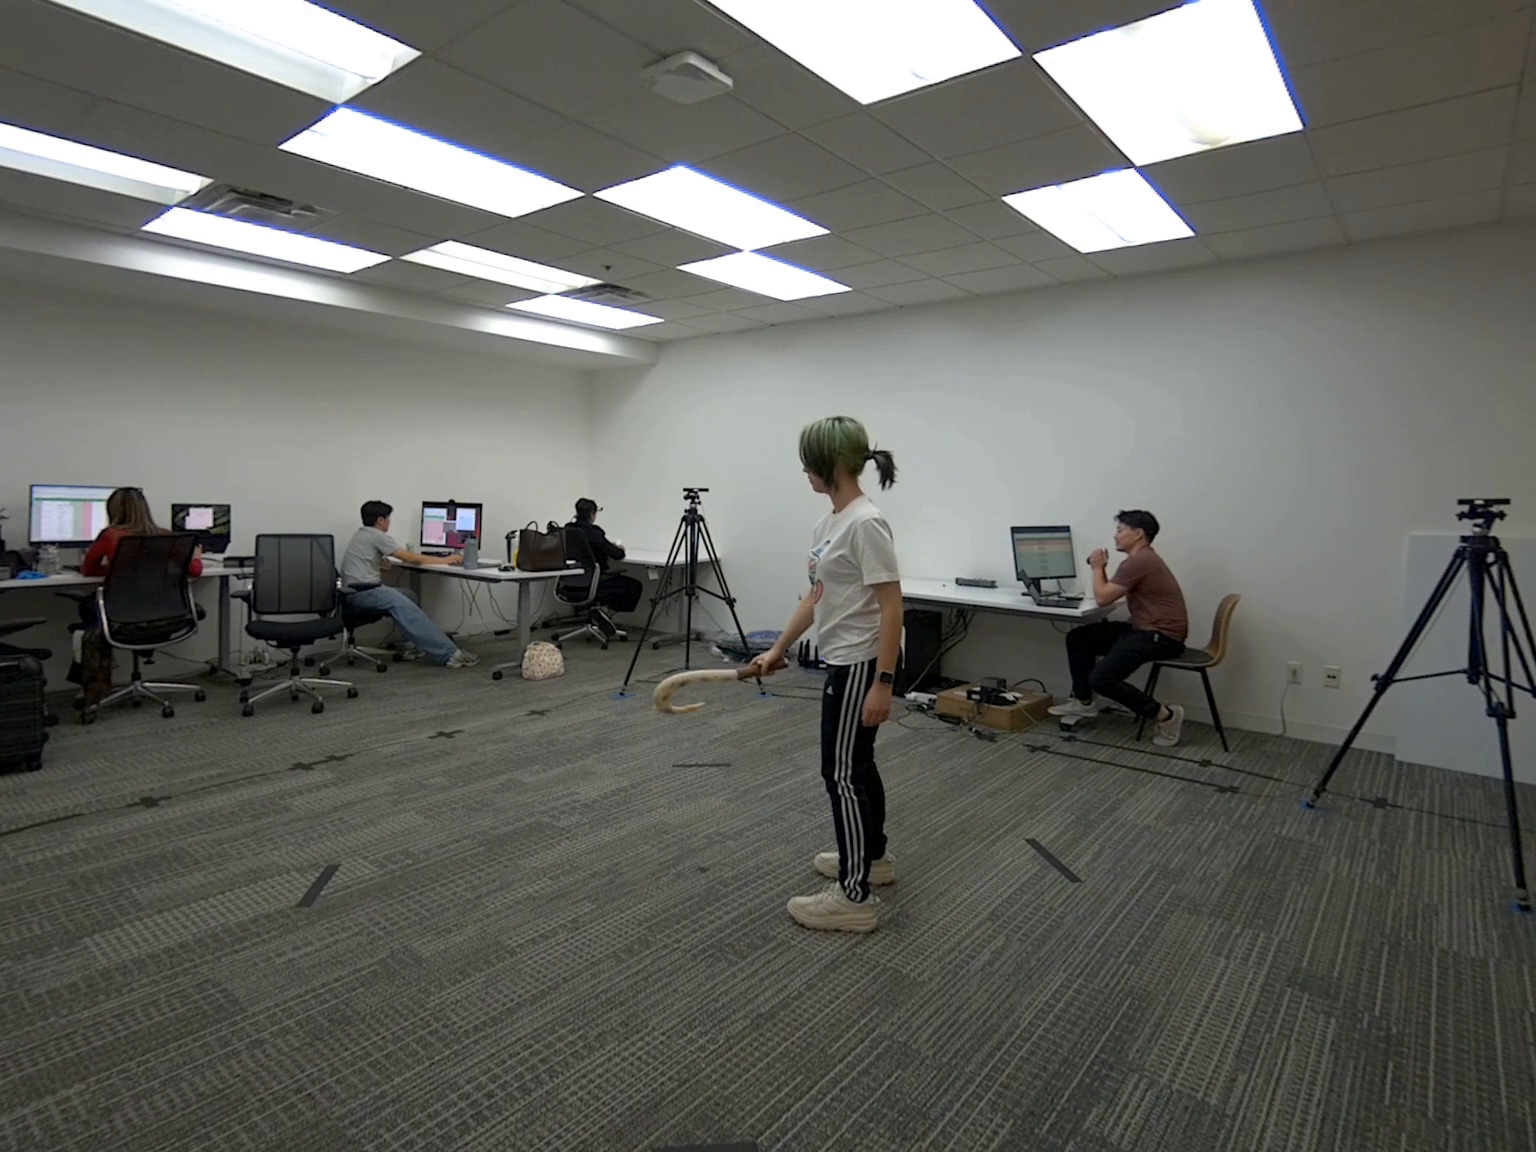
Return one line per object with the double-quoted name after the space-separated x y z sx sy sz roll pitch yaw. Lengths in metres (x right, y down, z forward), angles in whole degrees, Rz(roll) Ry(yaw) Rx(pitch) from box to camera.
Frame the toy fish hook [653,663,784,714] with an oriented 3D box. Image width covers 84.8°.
-0.175 0.381 3.045 0.500 0.219 0.050 -10 49 -15 "toy fish hook"
